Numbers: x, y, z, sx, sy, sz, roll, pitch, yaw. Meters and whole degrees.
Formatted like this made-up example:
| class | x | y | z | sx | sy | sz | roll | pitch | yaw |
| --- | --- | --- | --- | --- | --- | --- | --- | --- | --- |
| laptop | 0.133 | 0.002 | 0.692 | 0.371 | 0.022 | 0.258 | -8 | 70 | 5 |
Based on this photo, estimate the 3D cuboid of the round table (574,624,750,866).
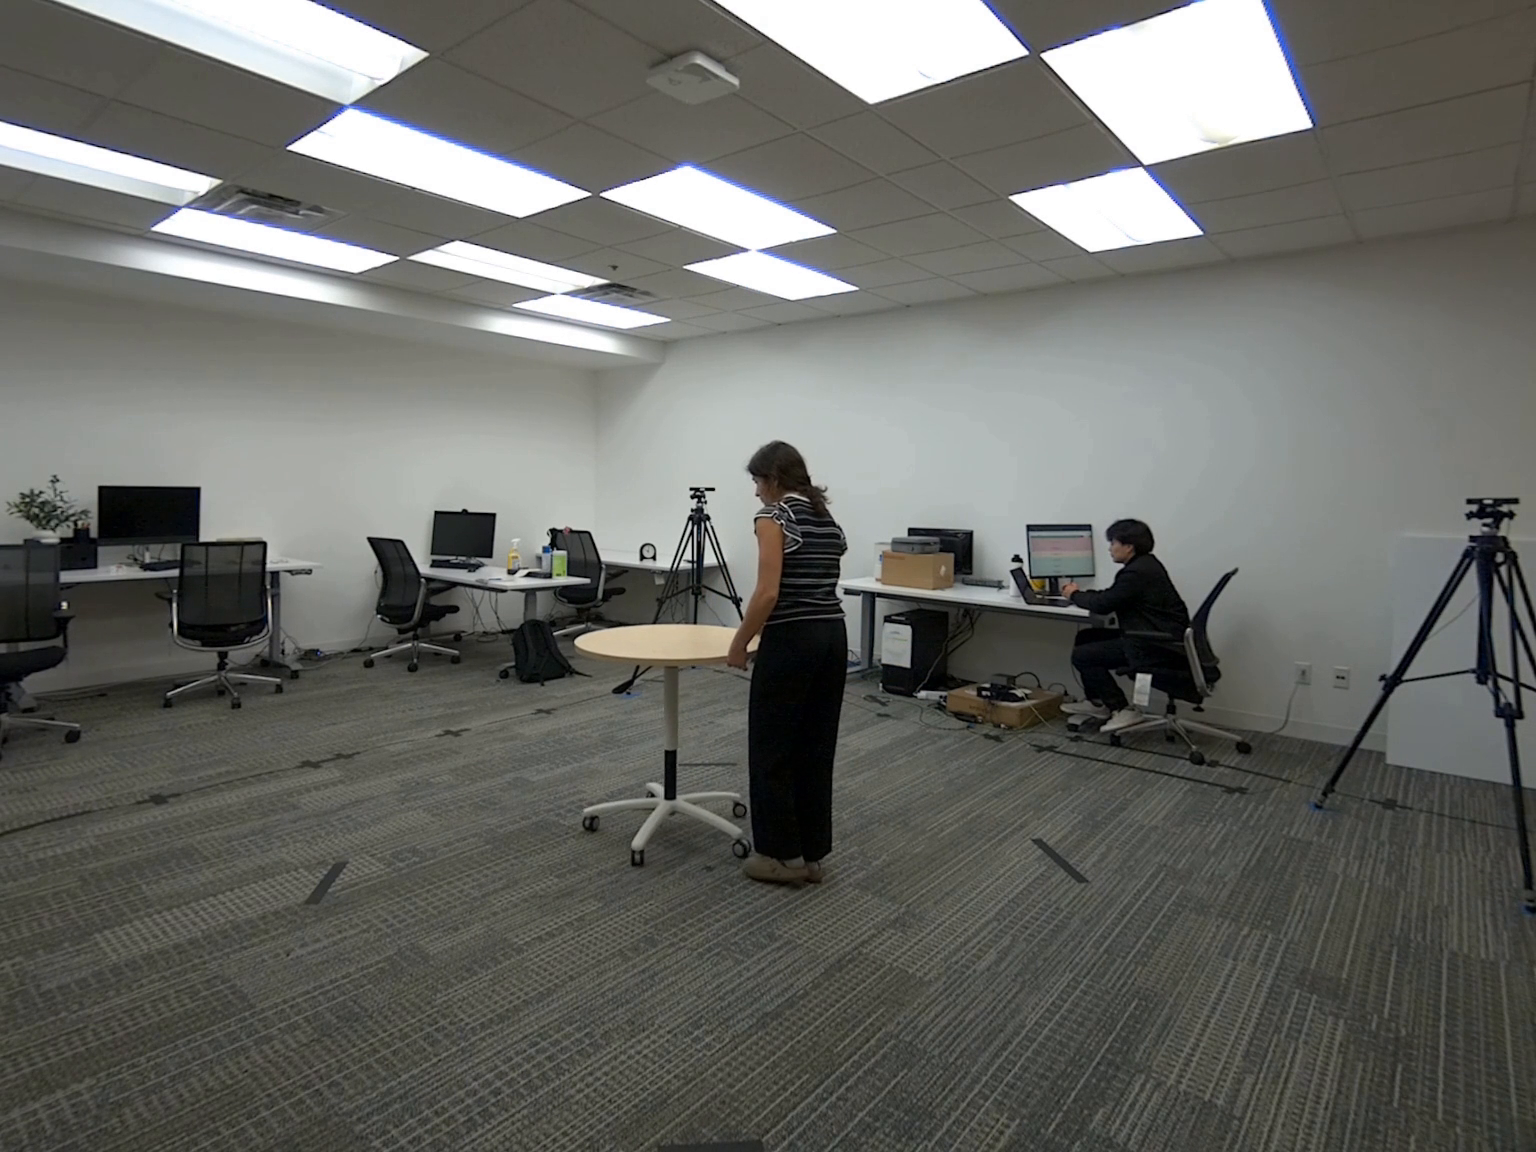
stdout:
| class | x | y | z | sx | sy | sz | roll | pitch | yaw |
| --- | --- | --- | --- | --- | --- | --- | --- | --- | --- |
| round table | -0.407 | 0.641 | 3.400 | 0.784 | 0.784 | 0.789 | 1 | 4 | -2 |
